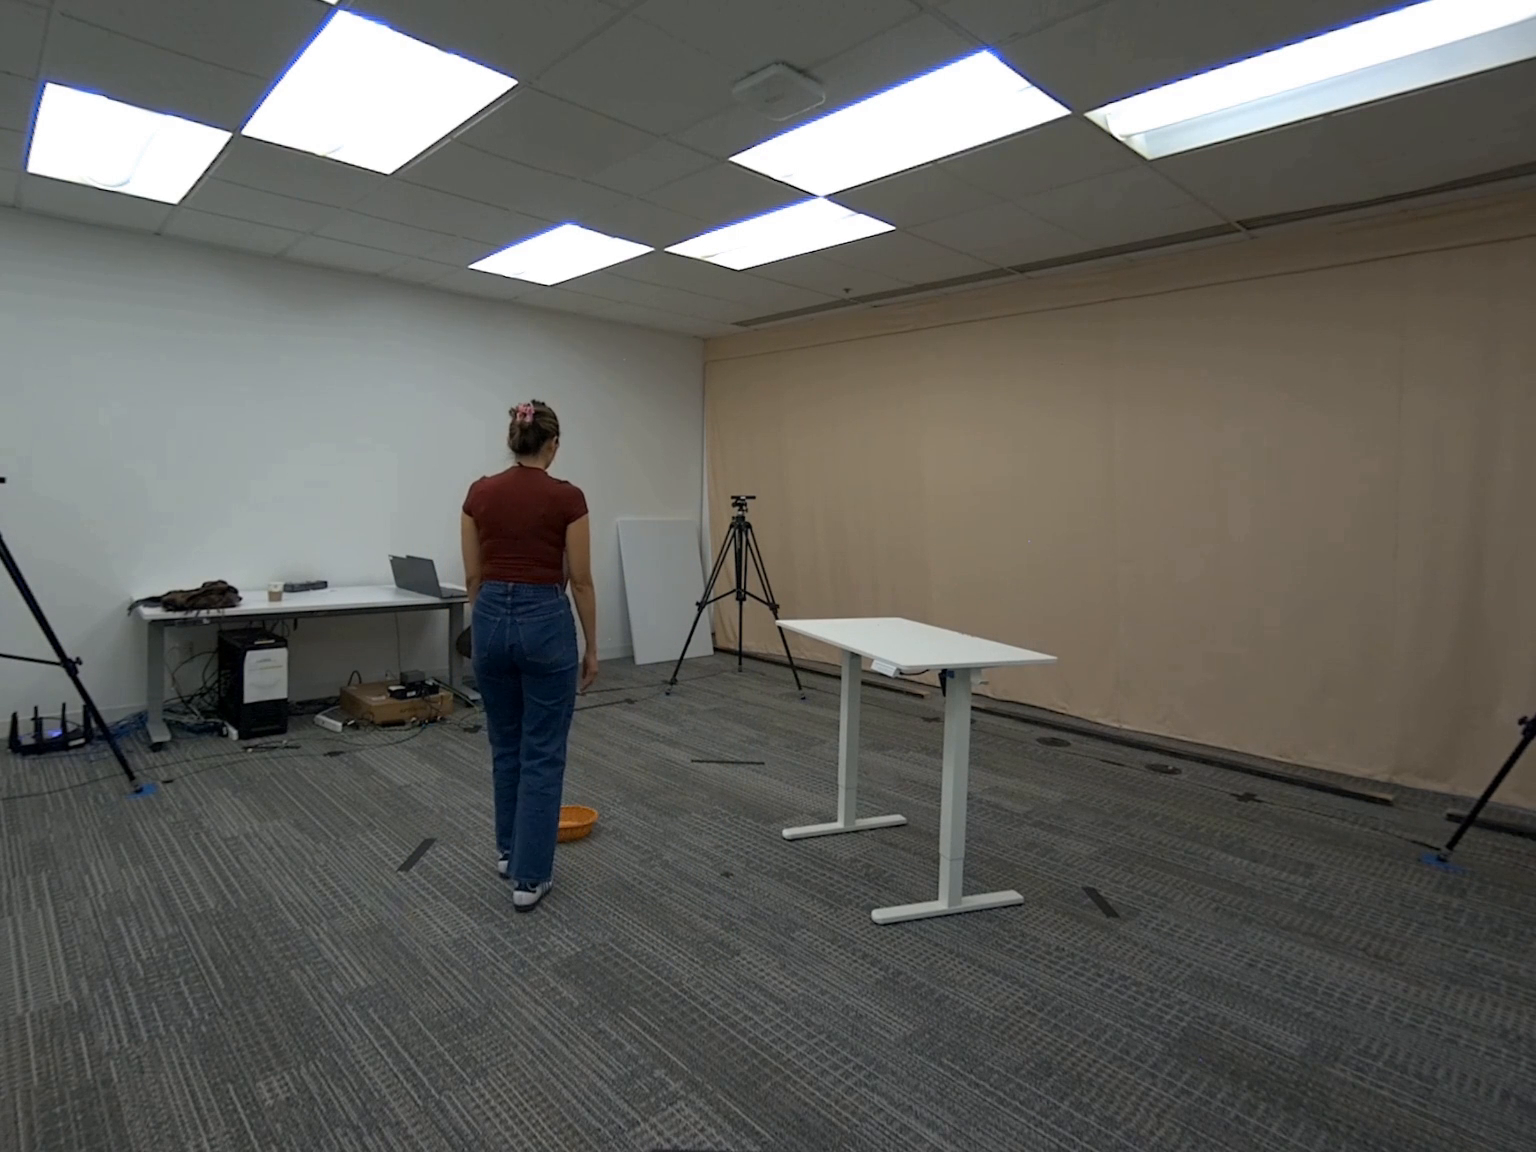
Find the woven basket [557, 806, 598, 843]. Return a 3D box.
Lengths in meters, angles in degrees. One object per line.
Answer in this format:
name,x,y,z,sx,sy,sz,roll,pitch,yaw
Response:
woven basket,-0.876,1.016,3.444,0.346,0.073,0.256,0,5,-16
